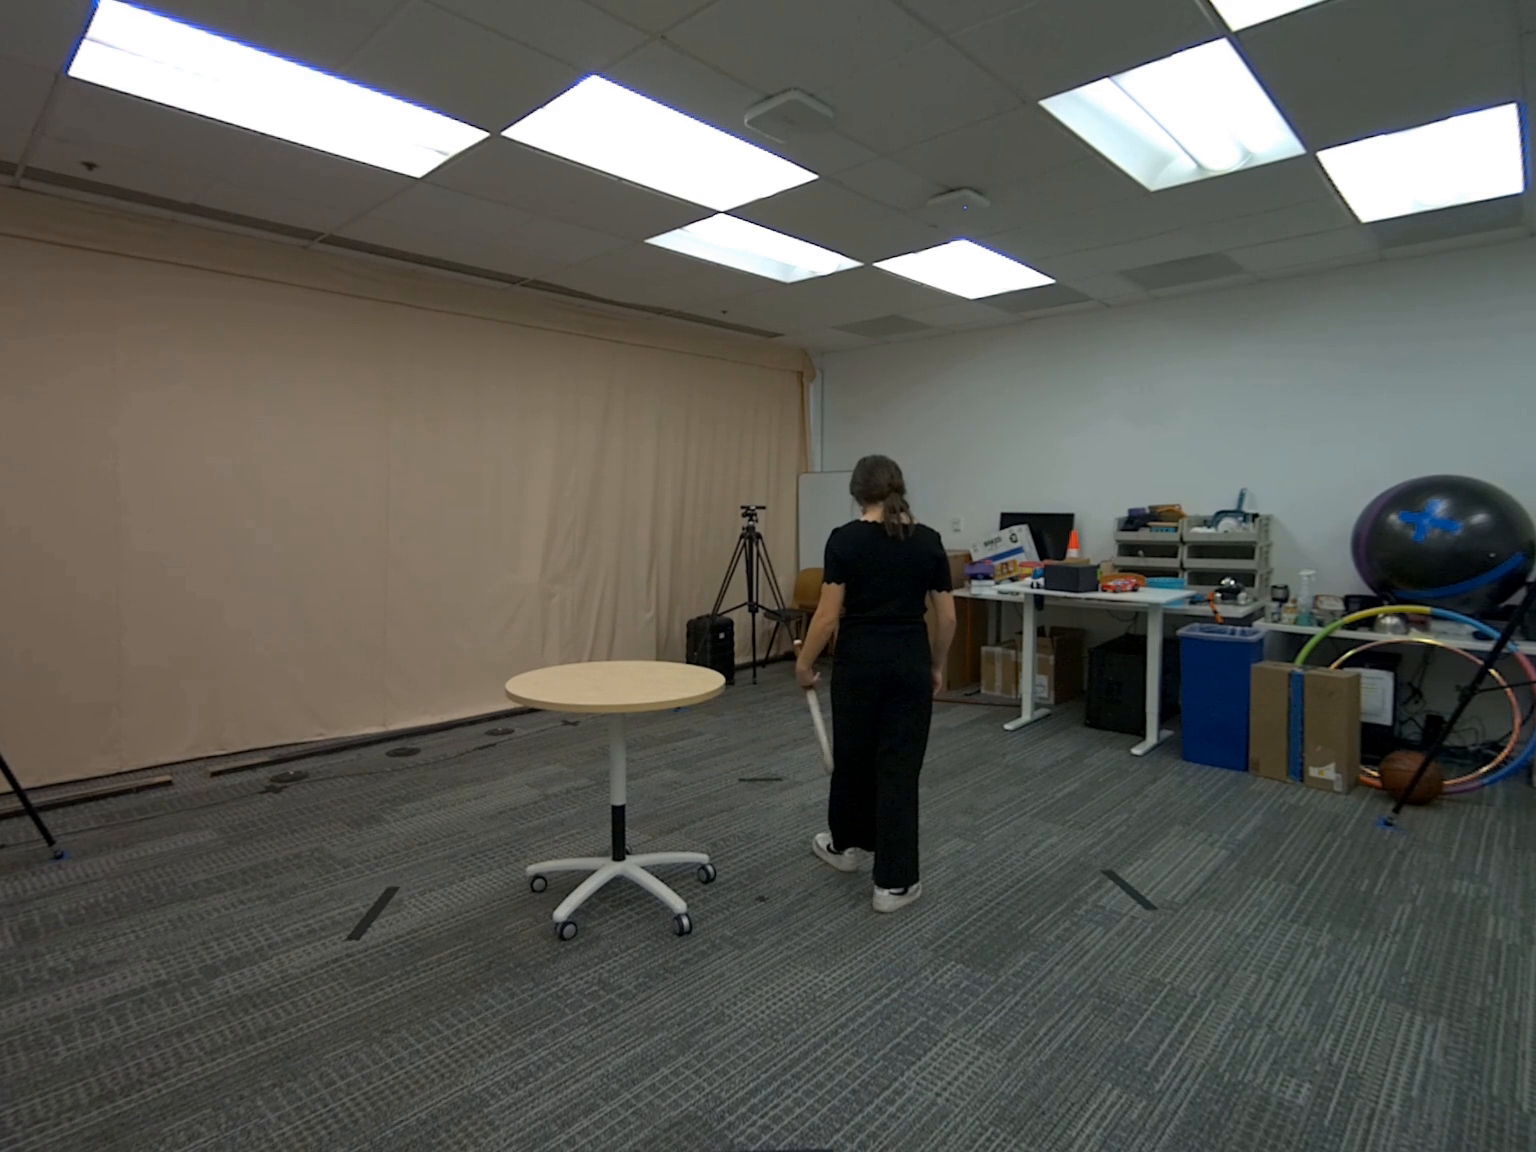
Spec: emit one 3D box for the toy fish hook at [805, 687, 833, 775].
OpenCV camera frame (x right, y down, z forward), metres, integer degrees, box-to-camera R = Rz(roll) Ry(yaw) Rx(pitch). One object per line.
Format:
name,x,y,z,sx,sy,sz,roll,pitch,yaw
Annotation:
toy fish hook,0.164,0.493,3.193,0.048,0.513,0.223,-11,-15,-10
